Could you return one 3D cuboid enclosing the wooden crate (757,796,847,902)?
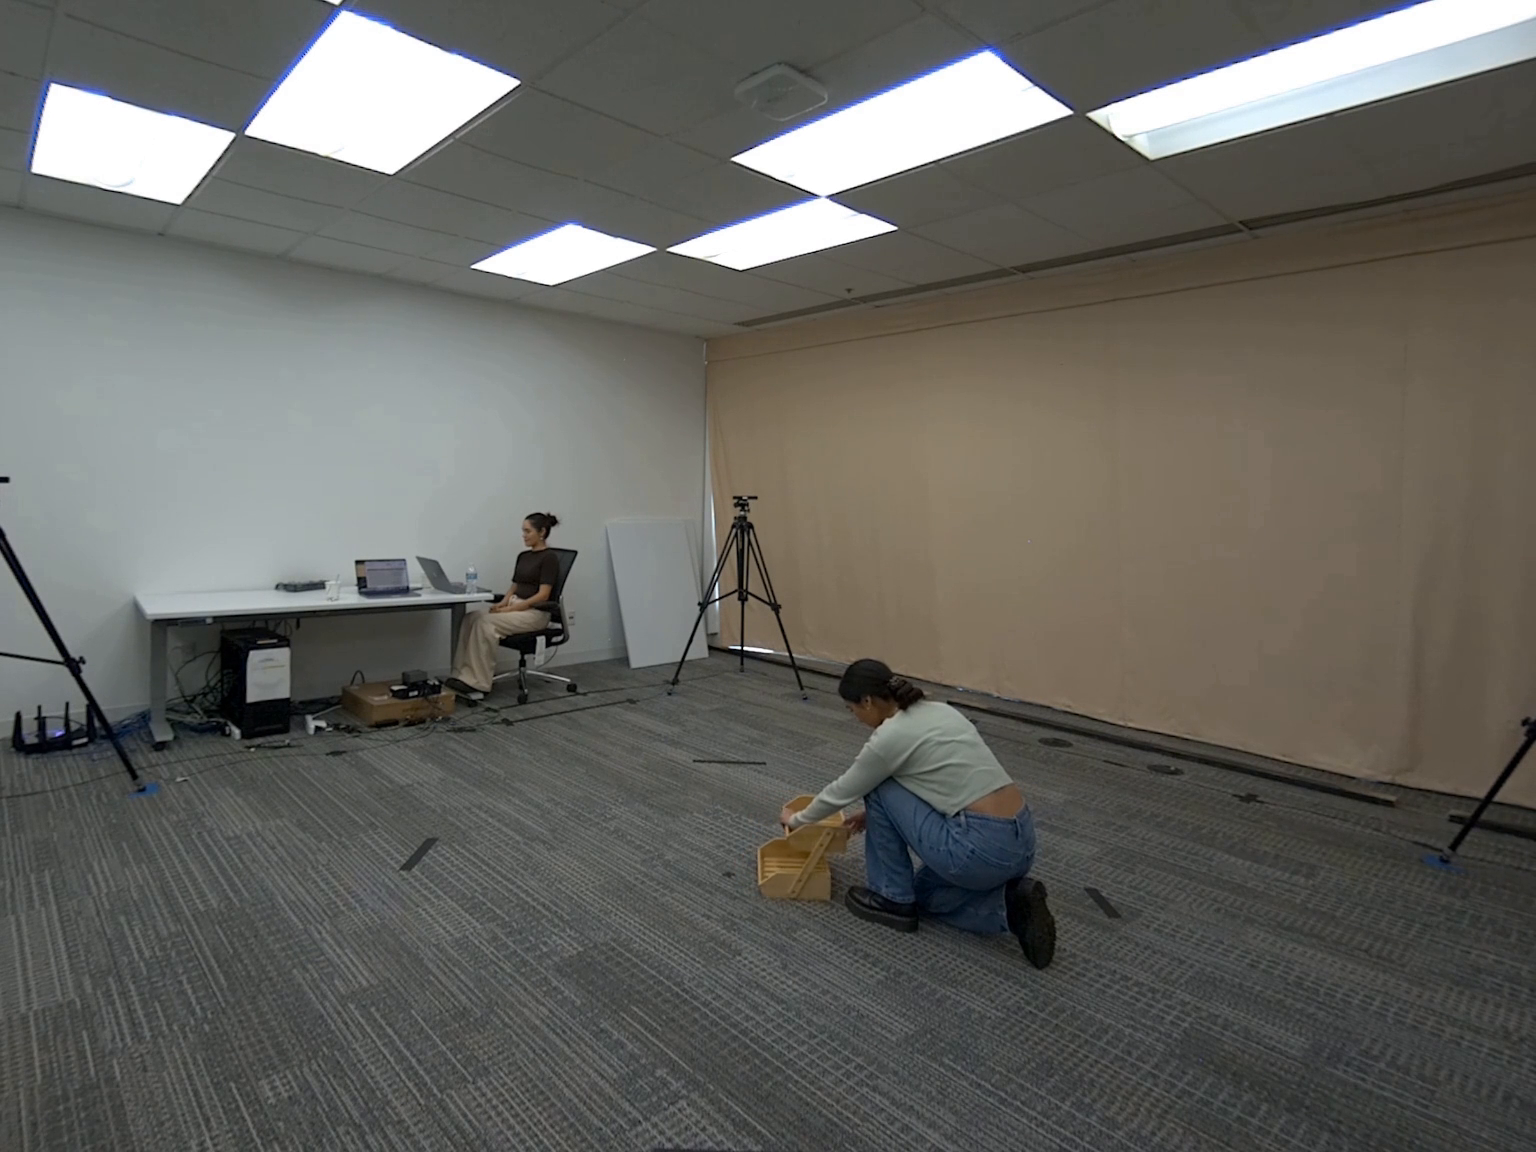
[{"bbox_3d":[0.097,0.978,3.070,0.302,0.272,0.325,1,5,0],"label":"wooden crate"}]
